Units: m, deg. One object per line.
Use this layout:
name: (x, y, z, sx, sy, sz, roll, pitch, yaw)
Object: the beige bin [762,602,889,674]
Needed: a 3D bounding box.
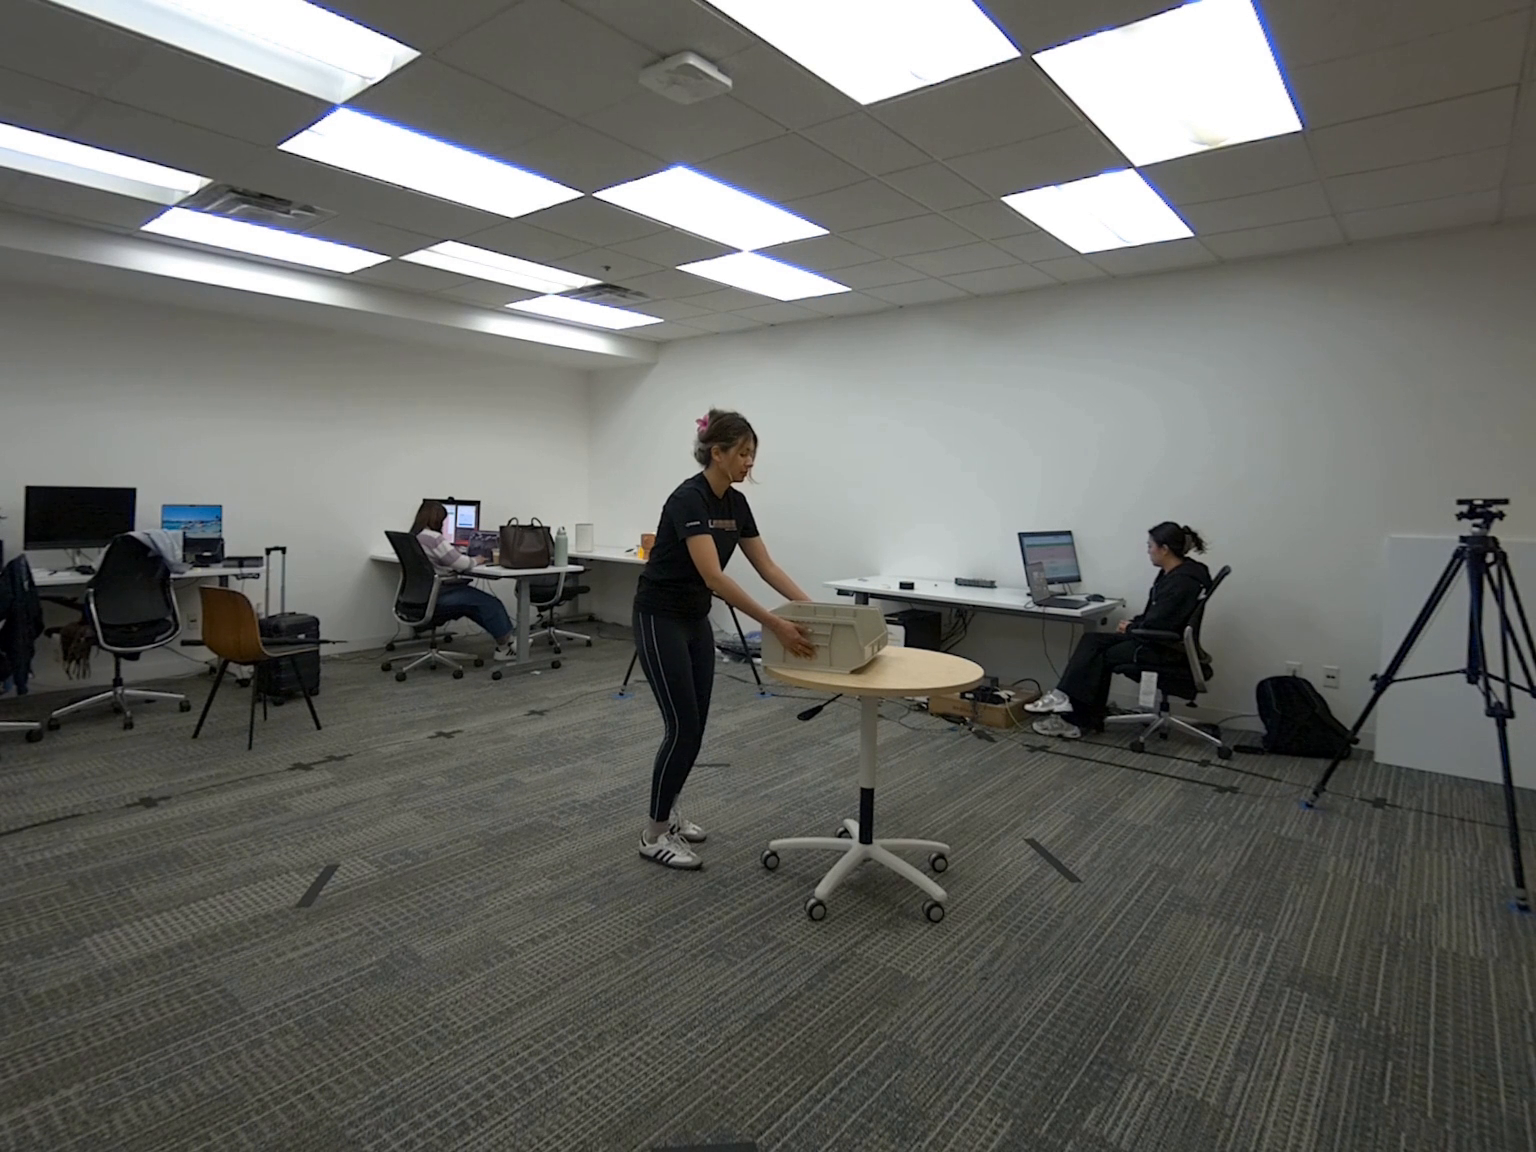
beige bin: (0.210, 0.215, 3.062, 0.385, 0.188, 0.415, 0, 5, 19)
